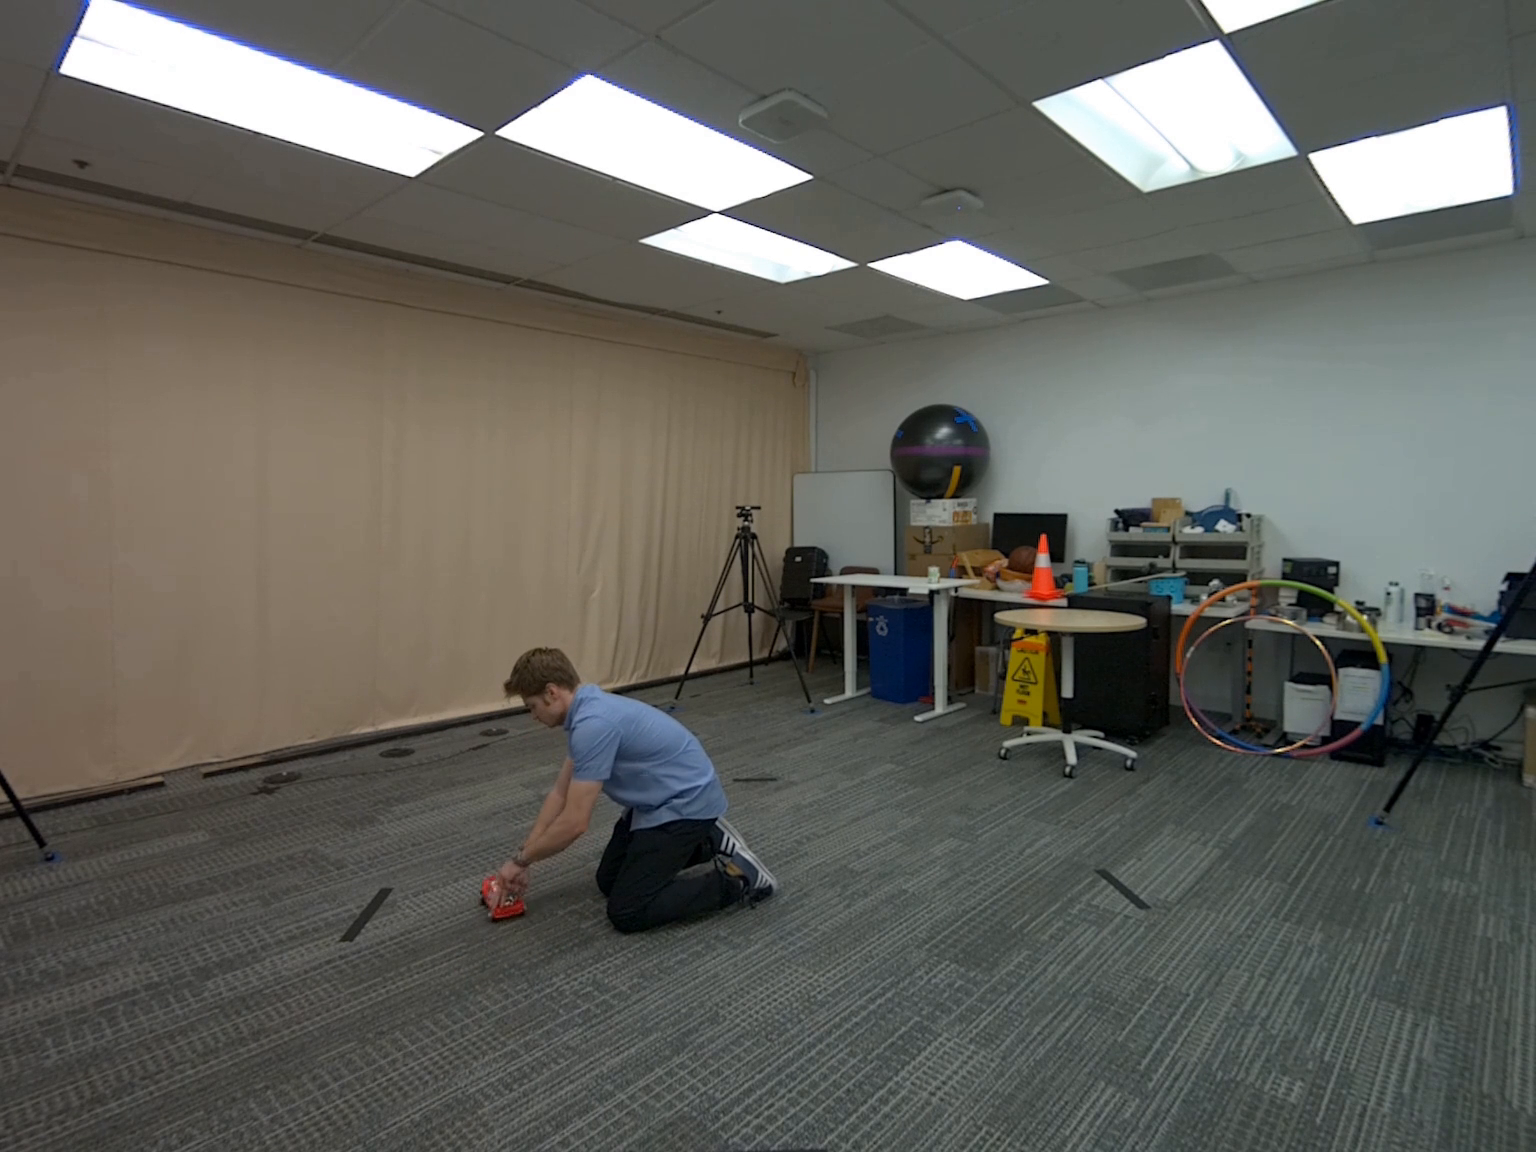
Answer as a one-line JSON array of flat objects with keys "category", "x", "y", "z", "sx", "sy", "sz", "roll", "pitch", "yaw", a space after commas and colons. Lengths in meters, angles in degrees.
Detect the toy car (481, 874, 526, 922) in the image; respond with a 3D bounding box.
[{"category": "toy car", "x": -0.928, "y": 1.130, "z": 2.943, "sx": 0.127, "sy": 0.082, "sz": 0.263, "roll": -4, "pitch": 17, "yaw": -28}]
